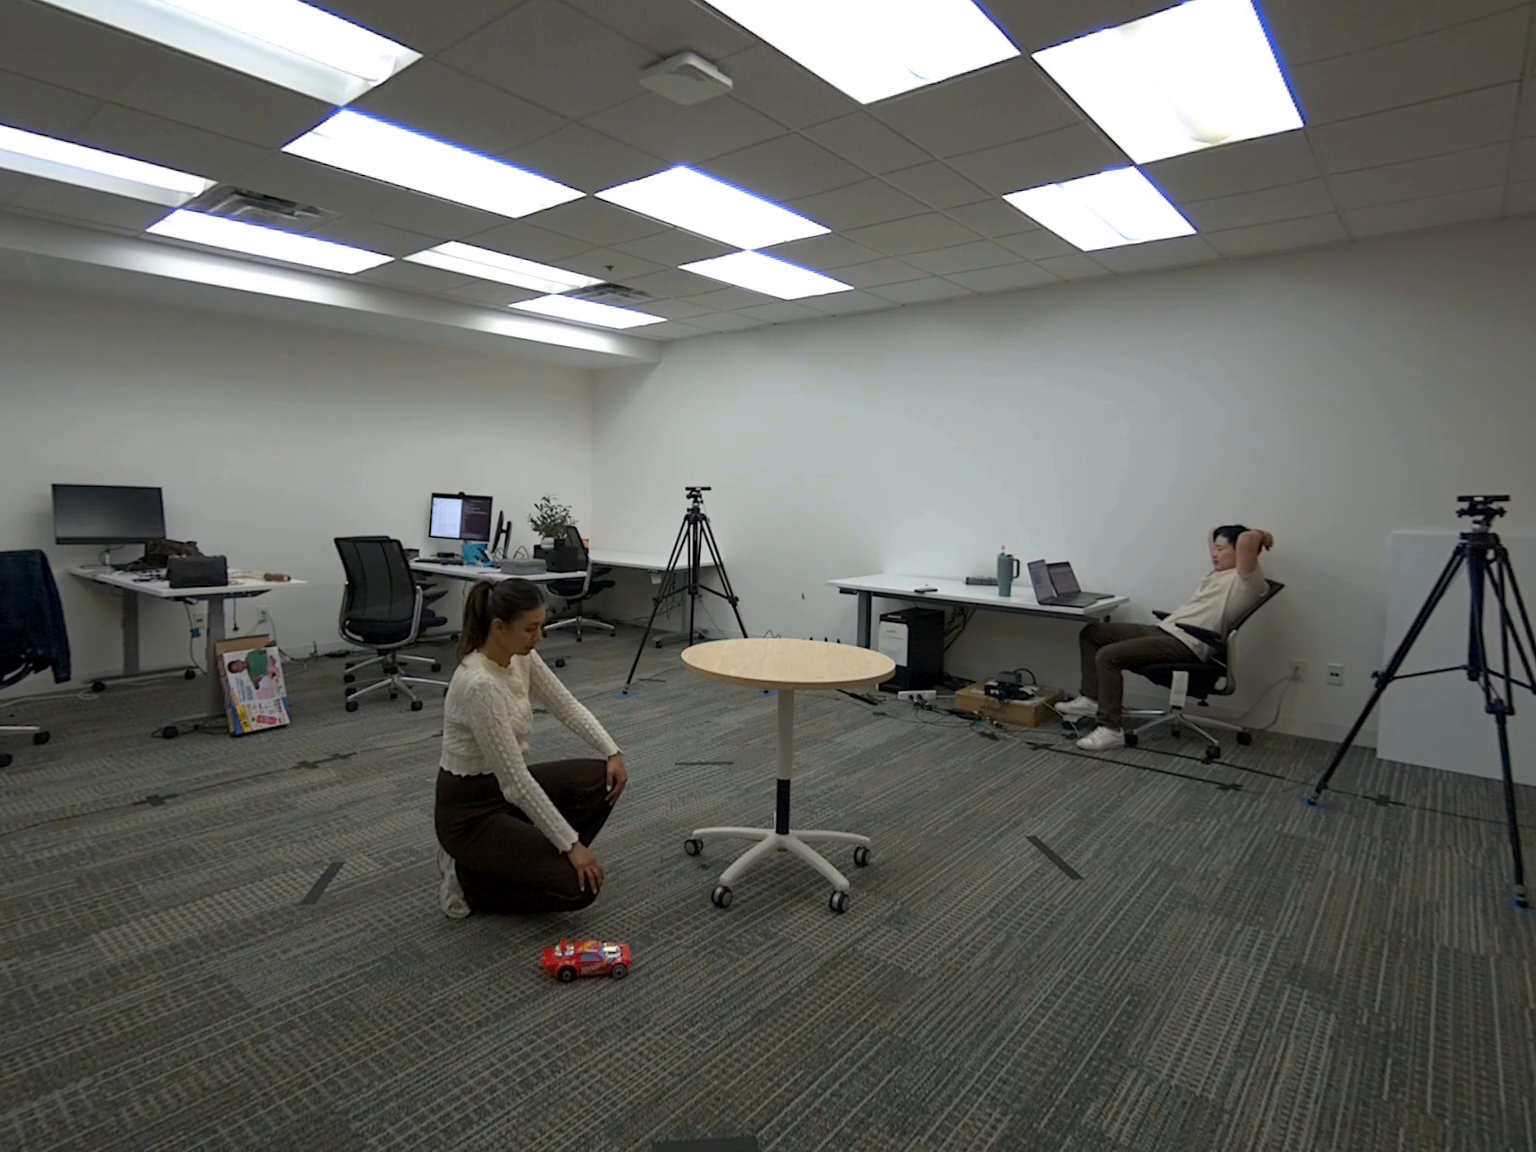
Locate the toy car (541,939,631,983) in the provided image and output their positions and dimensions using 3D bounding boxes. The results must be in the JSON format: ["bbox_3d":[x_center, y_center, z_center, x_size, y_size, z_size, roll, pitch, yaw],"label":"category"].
[{"bbox_3d":[-0.533,1.098,2.433,0.251,0.083,0.132,10,2,-10],"label":"toy car"}]
